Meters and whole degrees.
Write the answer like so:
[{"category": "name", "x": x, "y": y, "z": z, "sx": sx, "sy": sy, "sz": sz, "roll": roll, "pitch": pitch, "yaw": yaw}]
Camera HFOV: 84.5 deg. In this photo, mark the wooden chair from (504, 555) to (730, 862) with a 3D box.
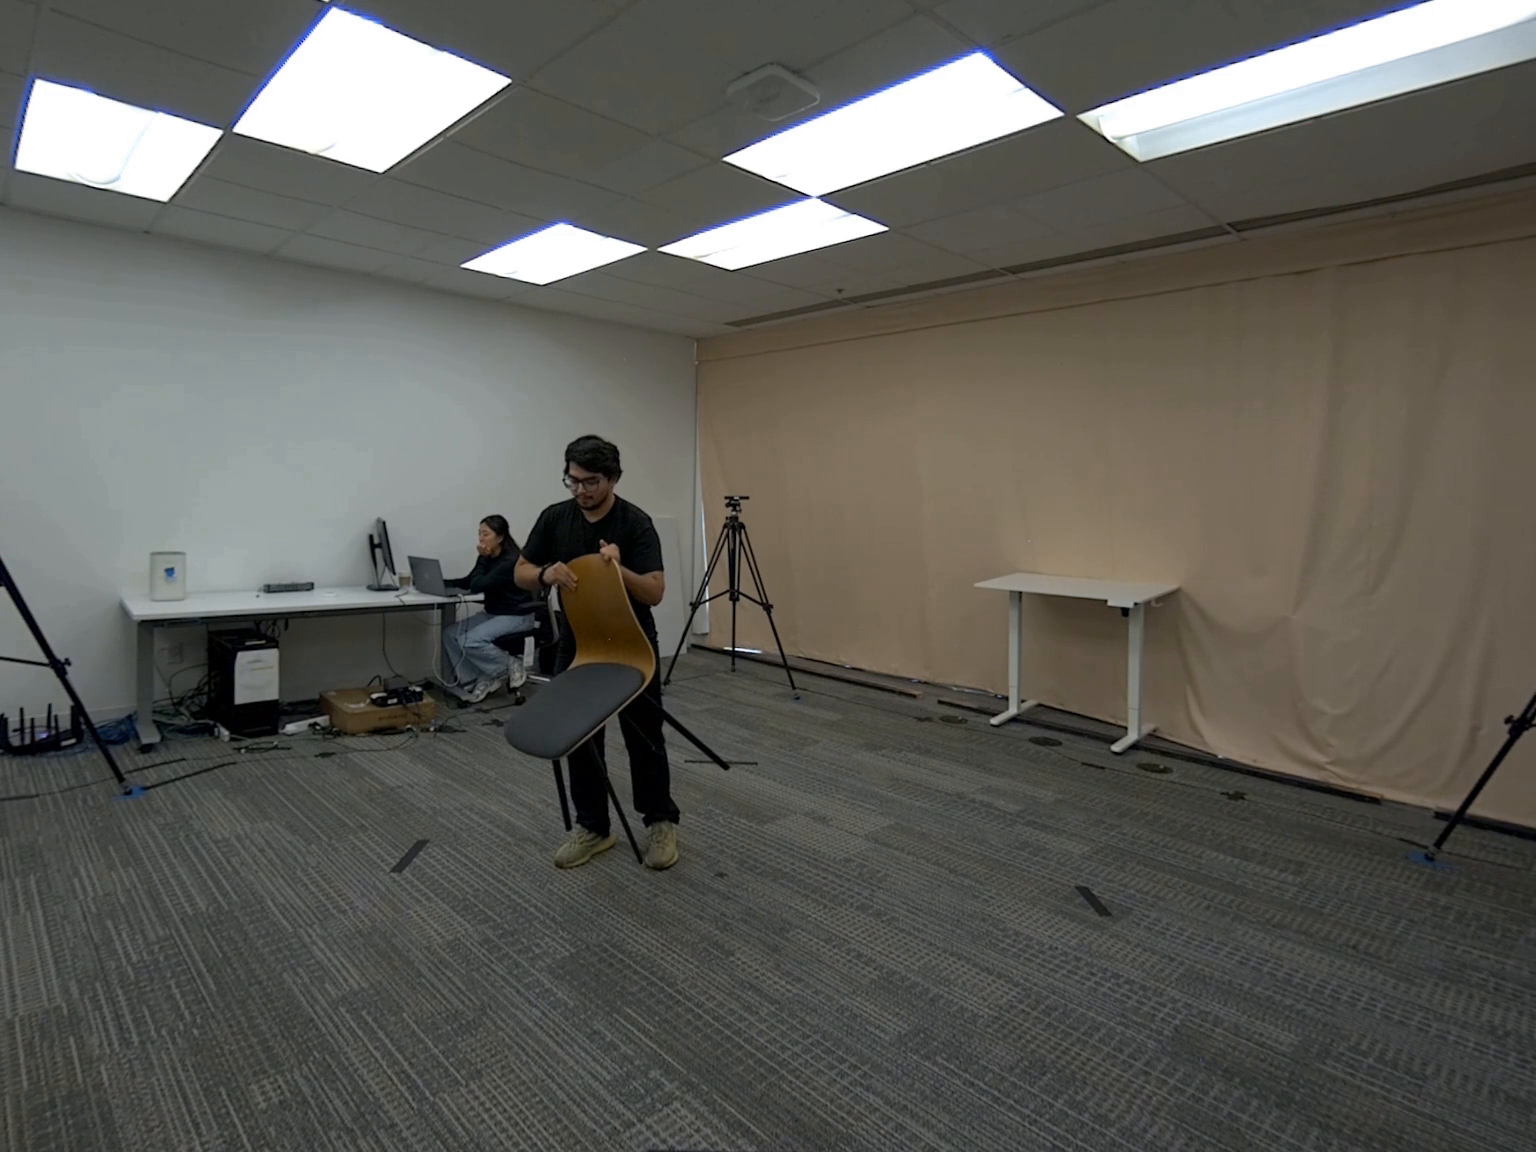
[{"category": "wooden chair", "x": -0.591, "y": 0.439, "z": 2.795, "sx": 0.489, "sy": 0.862, "sz": 0.520, "roll": 0, "pitch": 28, "yaw": 46}]
